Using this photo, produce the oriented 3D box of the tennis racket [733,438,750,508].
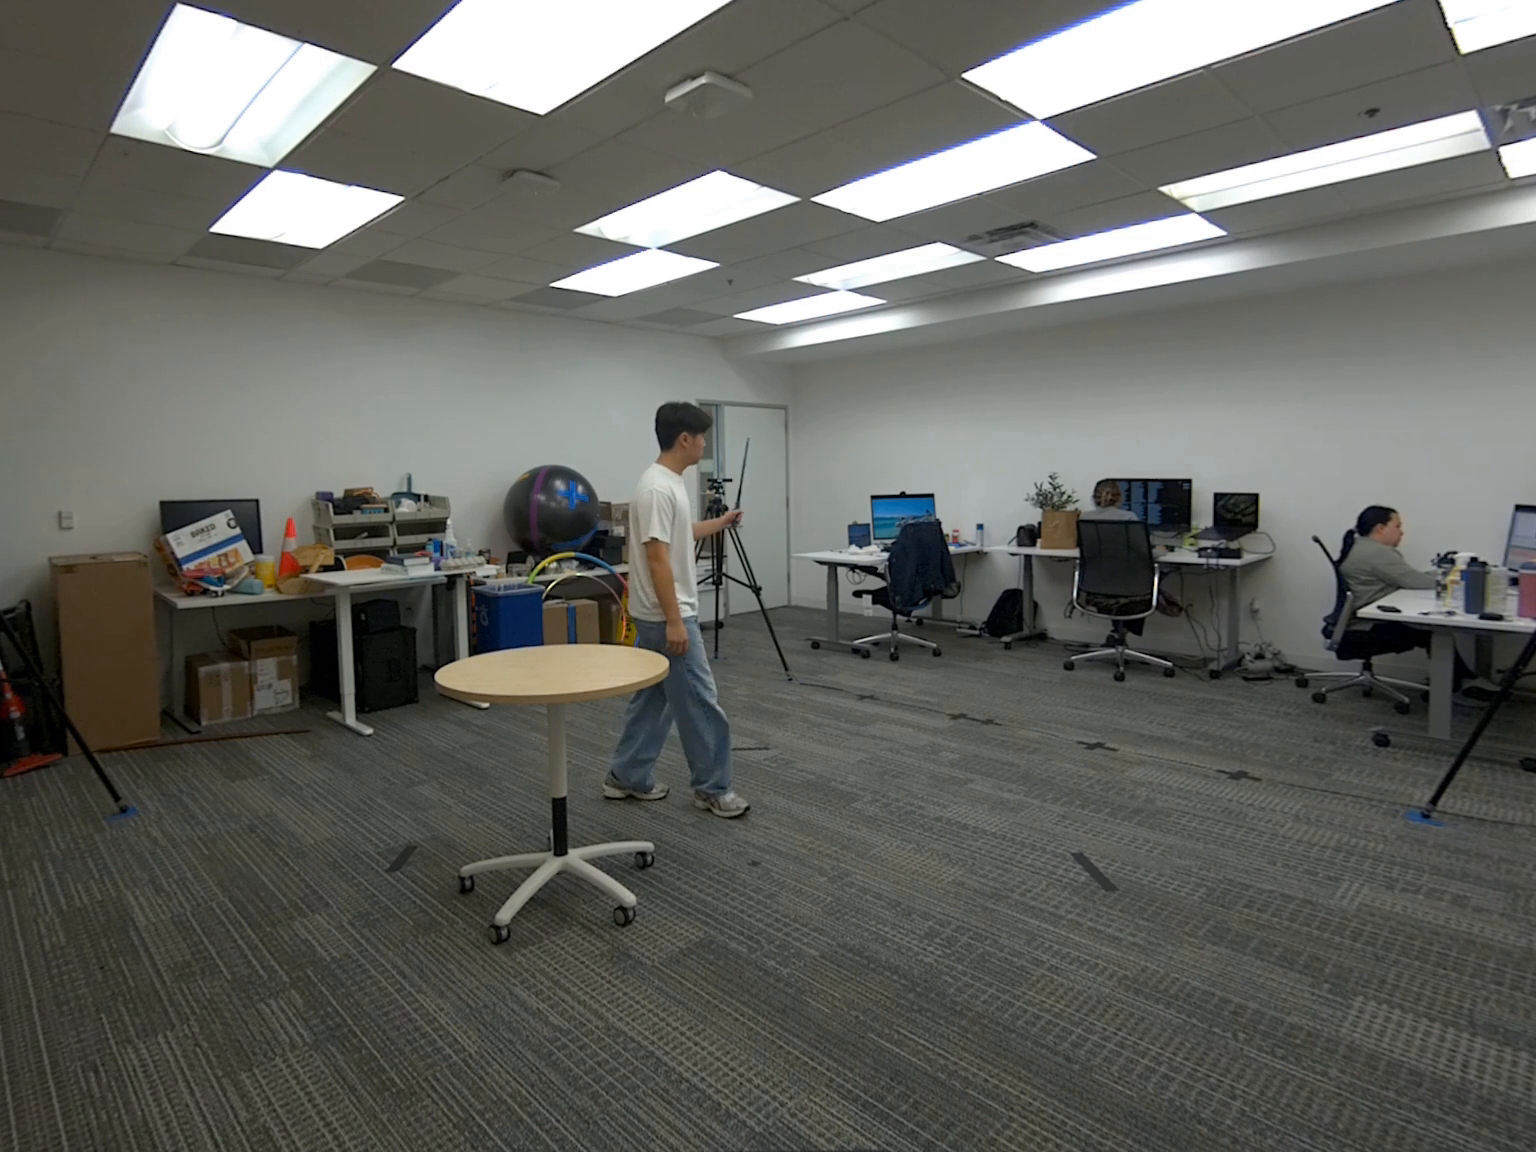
[{"bbox_3d":[-0.126,-0.454,4.056,0.032,0.430,0.215,9,8,-2],"label":"tennis racket"}]
